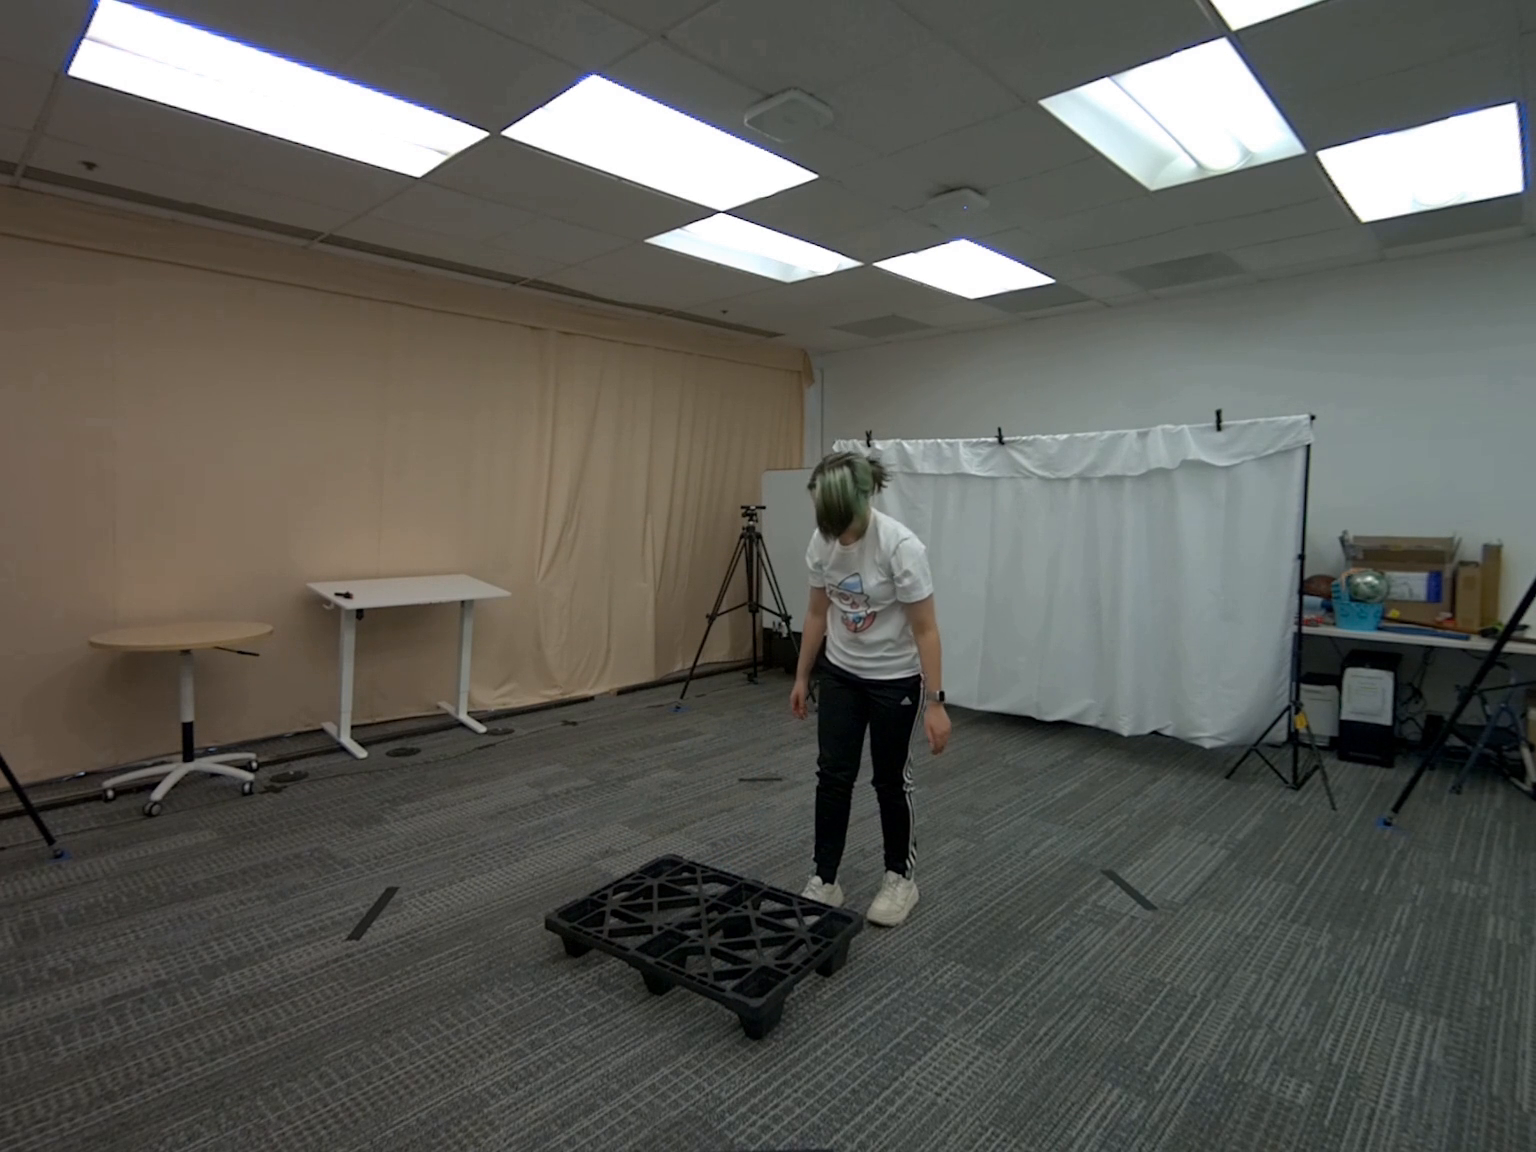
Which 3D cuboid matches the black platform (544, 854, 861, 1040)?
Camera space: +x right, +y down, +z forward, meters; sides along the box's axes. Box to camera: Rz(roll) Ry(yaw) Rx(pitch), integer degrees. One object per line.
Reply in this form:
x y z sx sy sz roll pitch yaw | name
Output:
-0.198 1.111 2.590 0.831 0.143 0.587 3 5 35 | black platform
